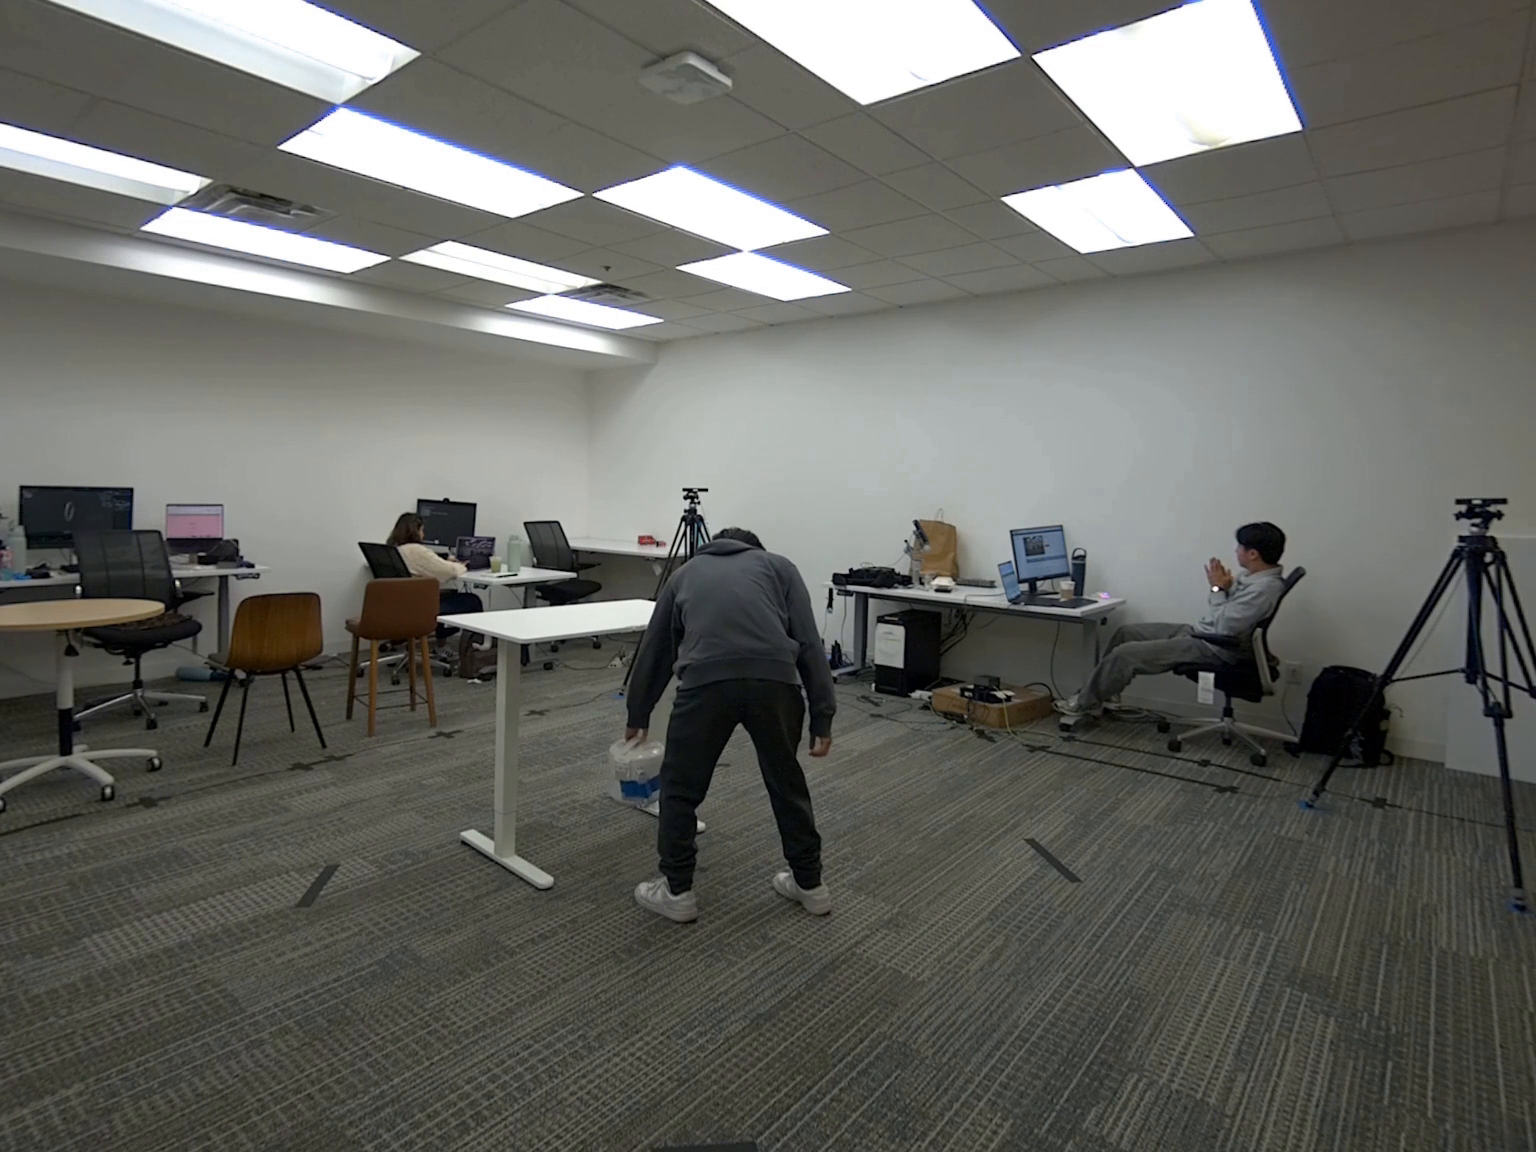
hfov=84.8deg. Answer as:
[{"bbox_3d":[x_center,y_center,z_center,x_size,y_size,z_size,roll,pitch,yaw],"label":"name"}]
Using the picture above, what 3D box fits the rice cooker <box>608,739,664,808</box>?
[{"bbox_3d":[-0.496,0.707,3.135,0.224,0.231,0.216,6,9,26],"label":"rice cooker"}]
